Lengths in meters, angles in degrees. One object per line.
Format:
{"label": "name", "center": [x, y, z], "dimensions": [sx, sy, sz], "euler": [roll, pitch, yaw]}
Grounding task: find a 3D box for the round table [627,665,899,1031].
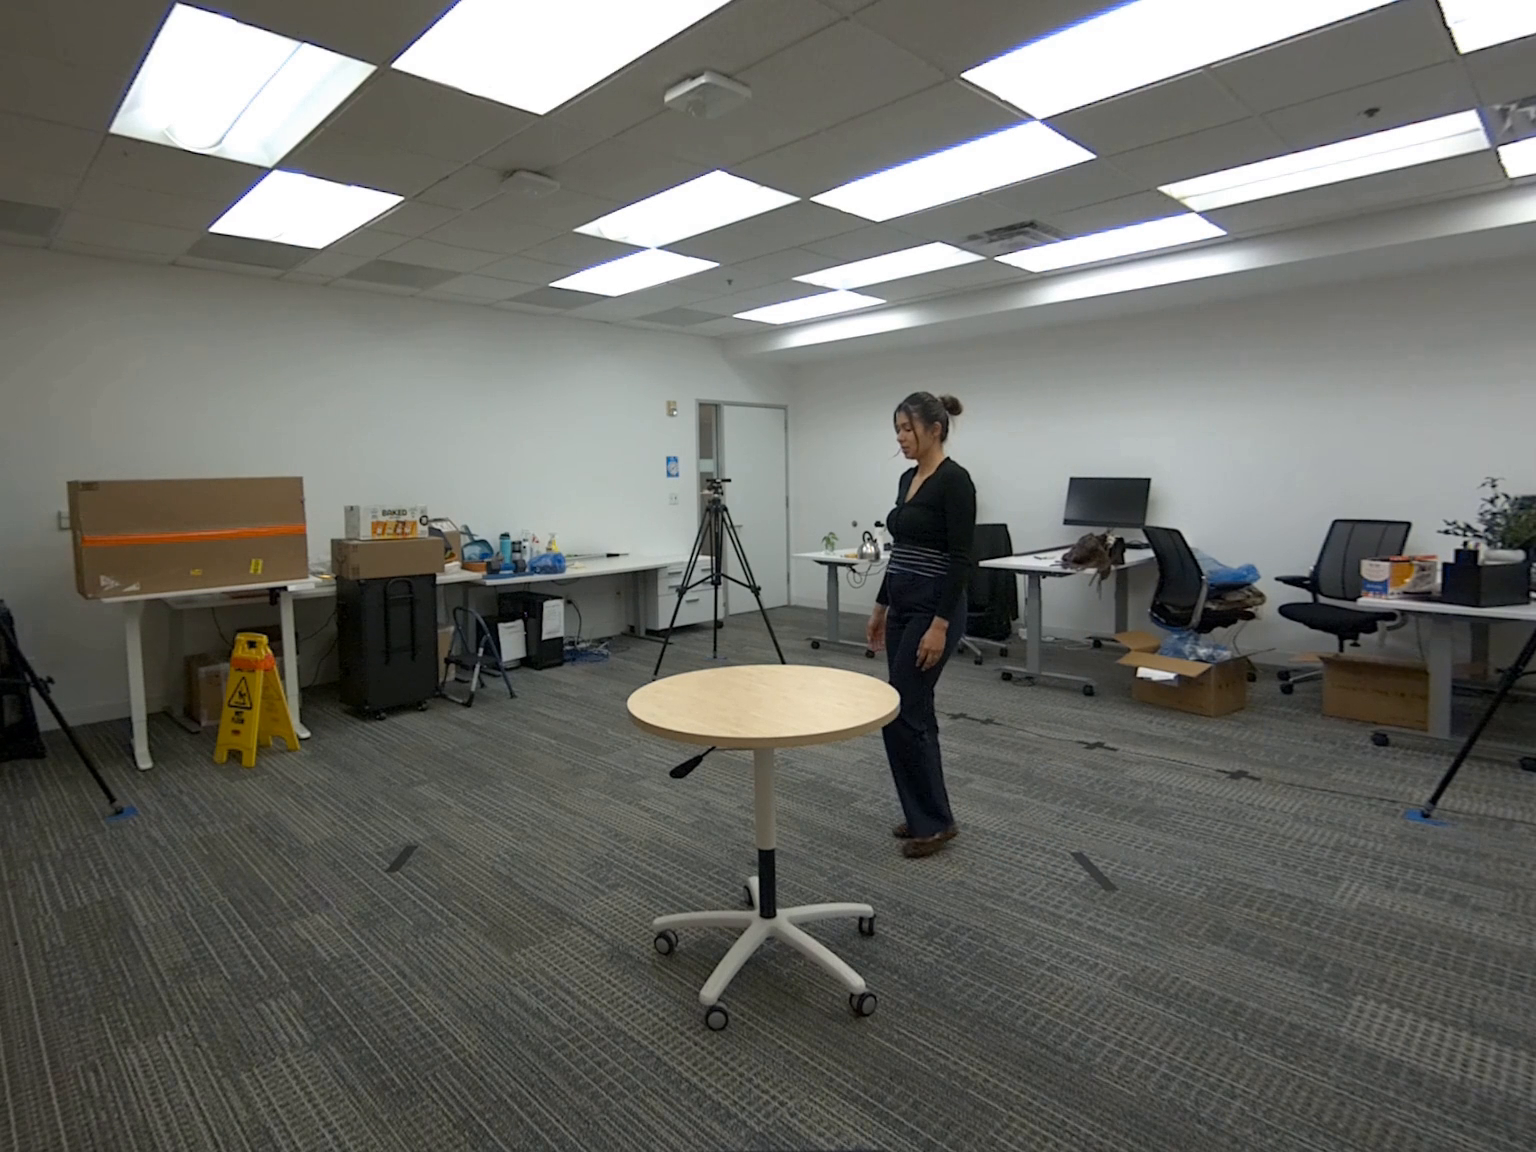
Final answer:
{"label": "round table", "center": [0.002, 0.733, 2.448], "dimensions": [0.763, 0.790, 0.768], "euler": [-2, 5, -1]}
